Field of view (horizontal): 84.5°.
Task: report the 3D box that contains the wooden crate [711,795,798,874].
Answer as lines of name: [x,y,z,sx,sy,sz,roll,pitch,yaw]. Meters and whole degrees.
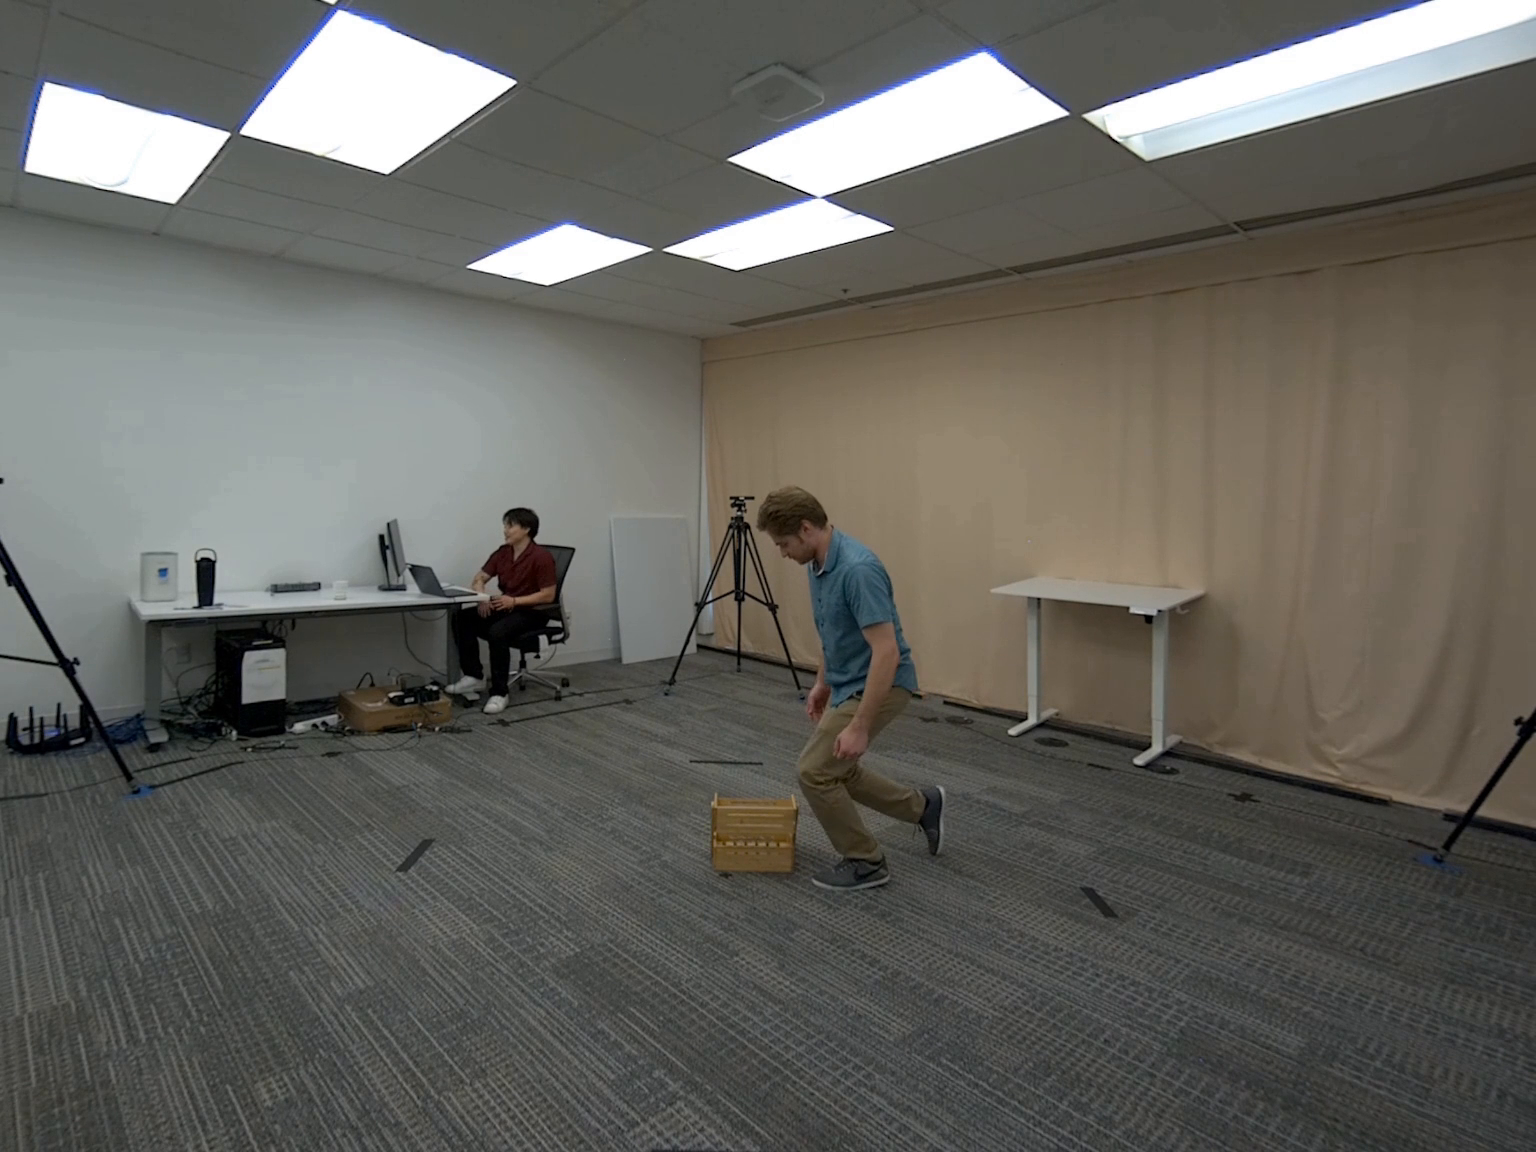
wooden crate: [-0.066,0.961,3.239,0.324,0.273,0.303,1,4,-2]
